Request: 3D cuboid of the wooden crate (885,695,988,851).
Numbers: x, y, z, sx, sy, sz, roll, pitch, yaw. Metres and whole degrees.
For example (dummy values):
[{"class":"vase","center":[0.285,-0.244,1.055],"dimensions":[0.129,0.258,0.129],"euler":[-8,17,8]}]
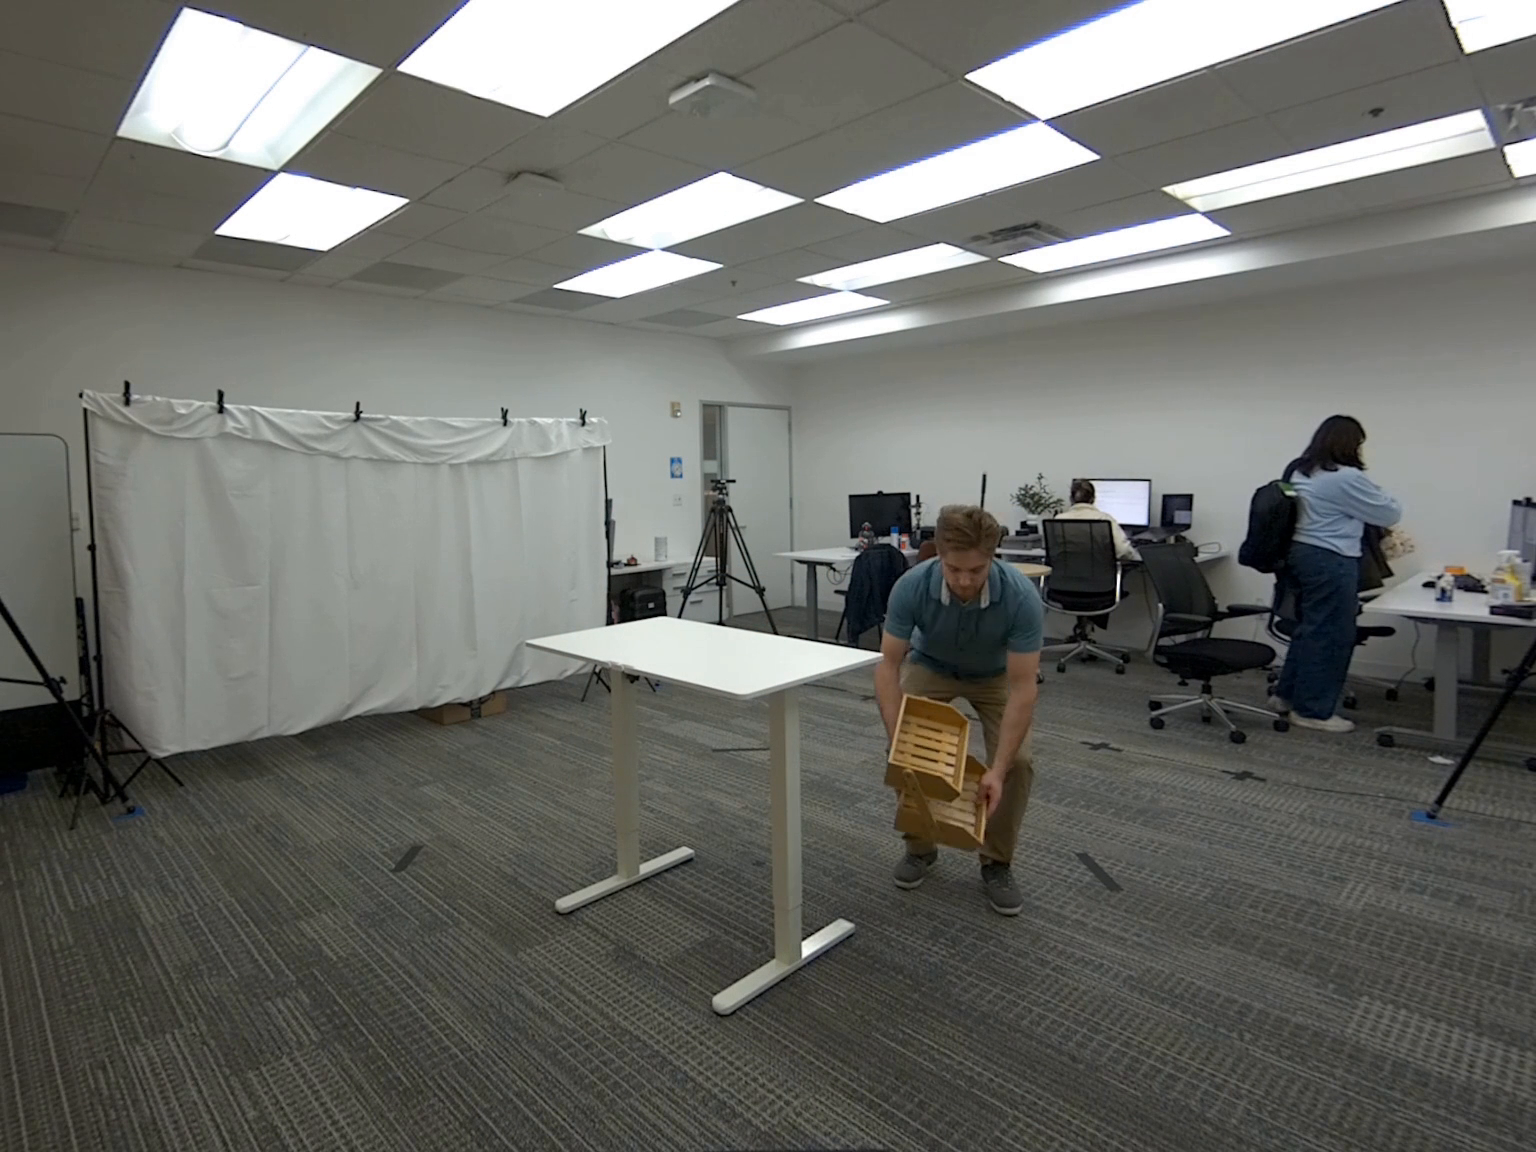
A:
[{"class":"wooden crate","center":[0.518,0.578,2.534],"dimensions":[0.307,0.267,0.327],"euler":[8,30,13]}]
